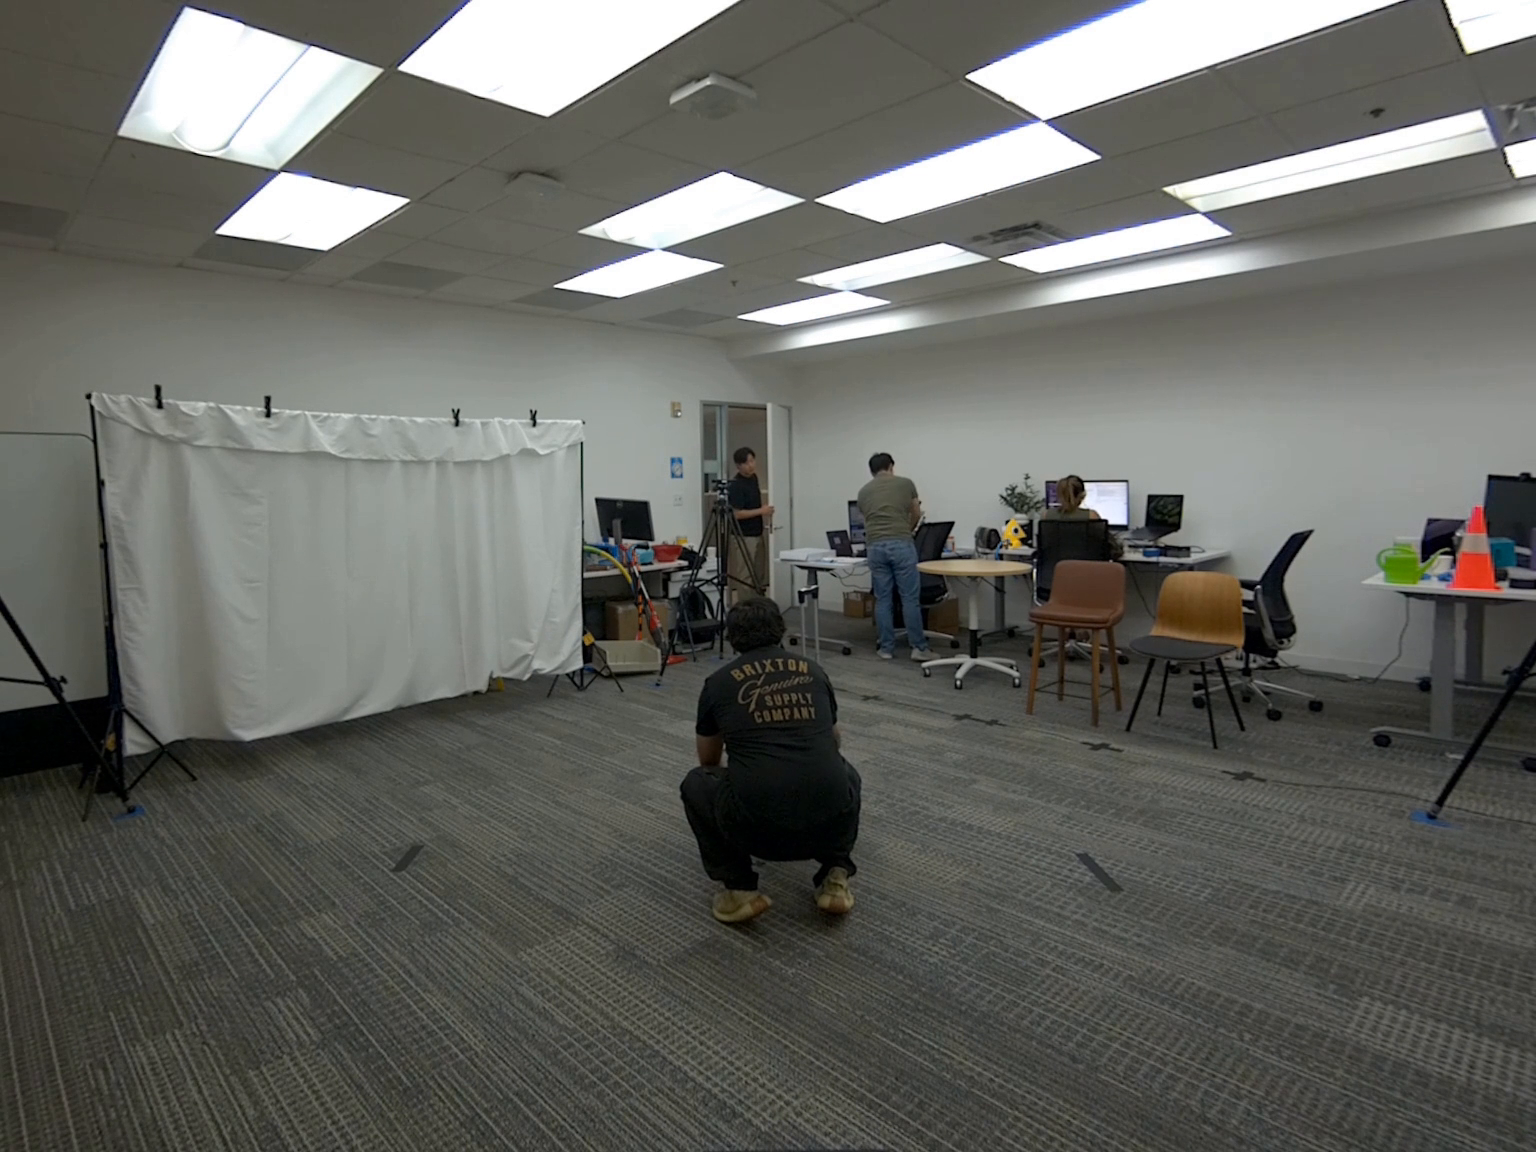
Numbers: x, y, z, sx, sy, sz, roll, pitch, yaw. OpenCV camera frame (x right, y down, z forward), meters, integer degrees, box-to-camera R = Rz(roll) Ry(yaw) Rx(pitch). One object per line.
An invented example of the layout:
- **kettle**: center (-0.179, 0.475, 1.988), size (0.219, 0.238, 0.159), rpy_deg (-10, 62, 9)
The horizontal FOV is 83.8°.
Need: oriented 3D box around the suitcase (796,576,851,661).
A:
- **suitcase**: center (0.079, 0.545, 3.324), size (0.263, 0.975, 0.376), rpy_deg (-2, 4, 26)
